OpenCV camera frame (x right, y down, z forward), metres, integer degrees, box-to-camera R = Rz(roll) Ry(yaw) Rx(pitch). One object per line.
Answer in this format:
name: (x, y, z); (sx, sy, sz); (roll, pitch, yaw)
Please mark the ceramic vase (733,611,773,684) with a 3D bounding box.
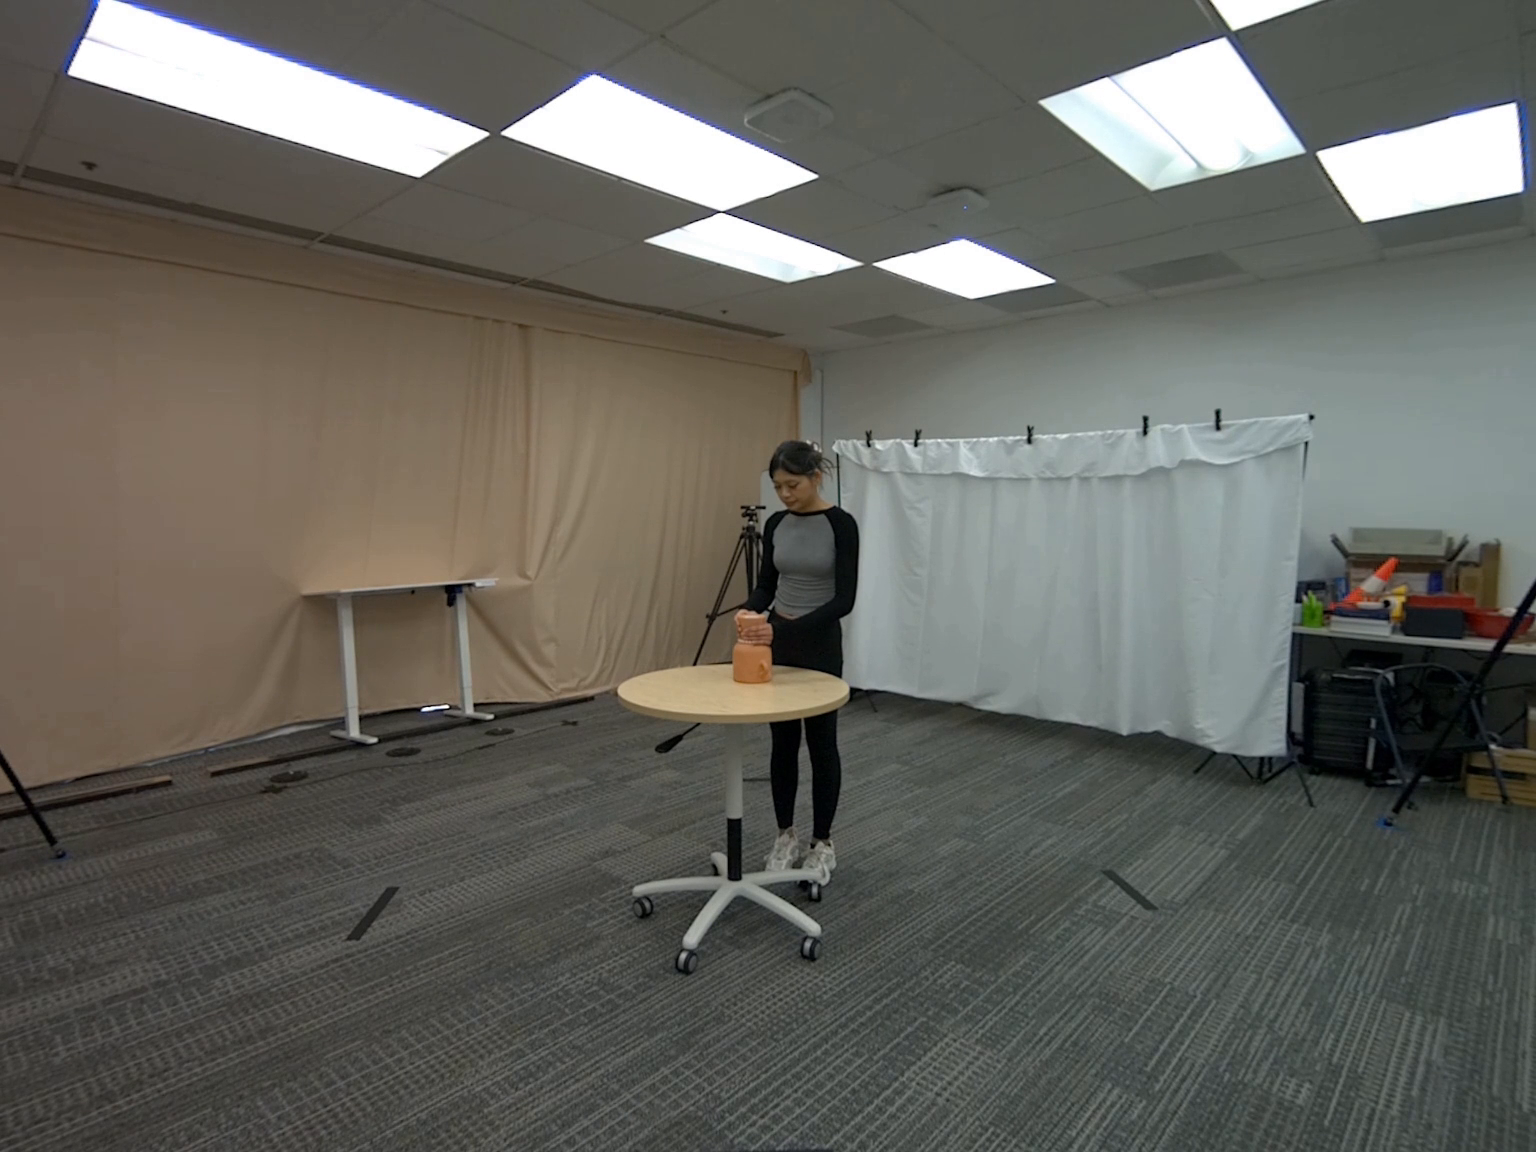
ceramic vase: (-0.047, 0.246, 2.894); (0.163, 0.219, 0.131); (5, 3, 22)
